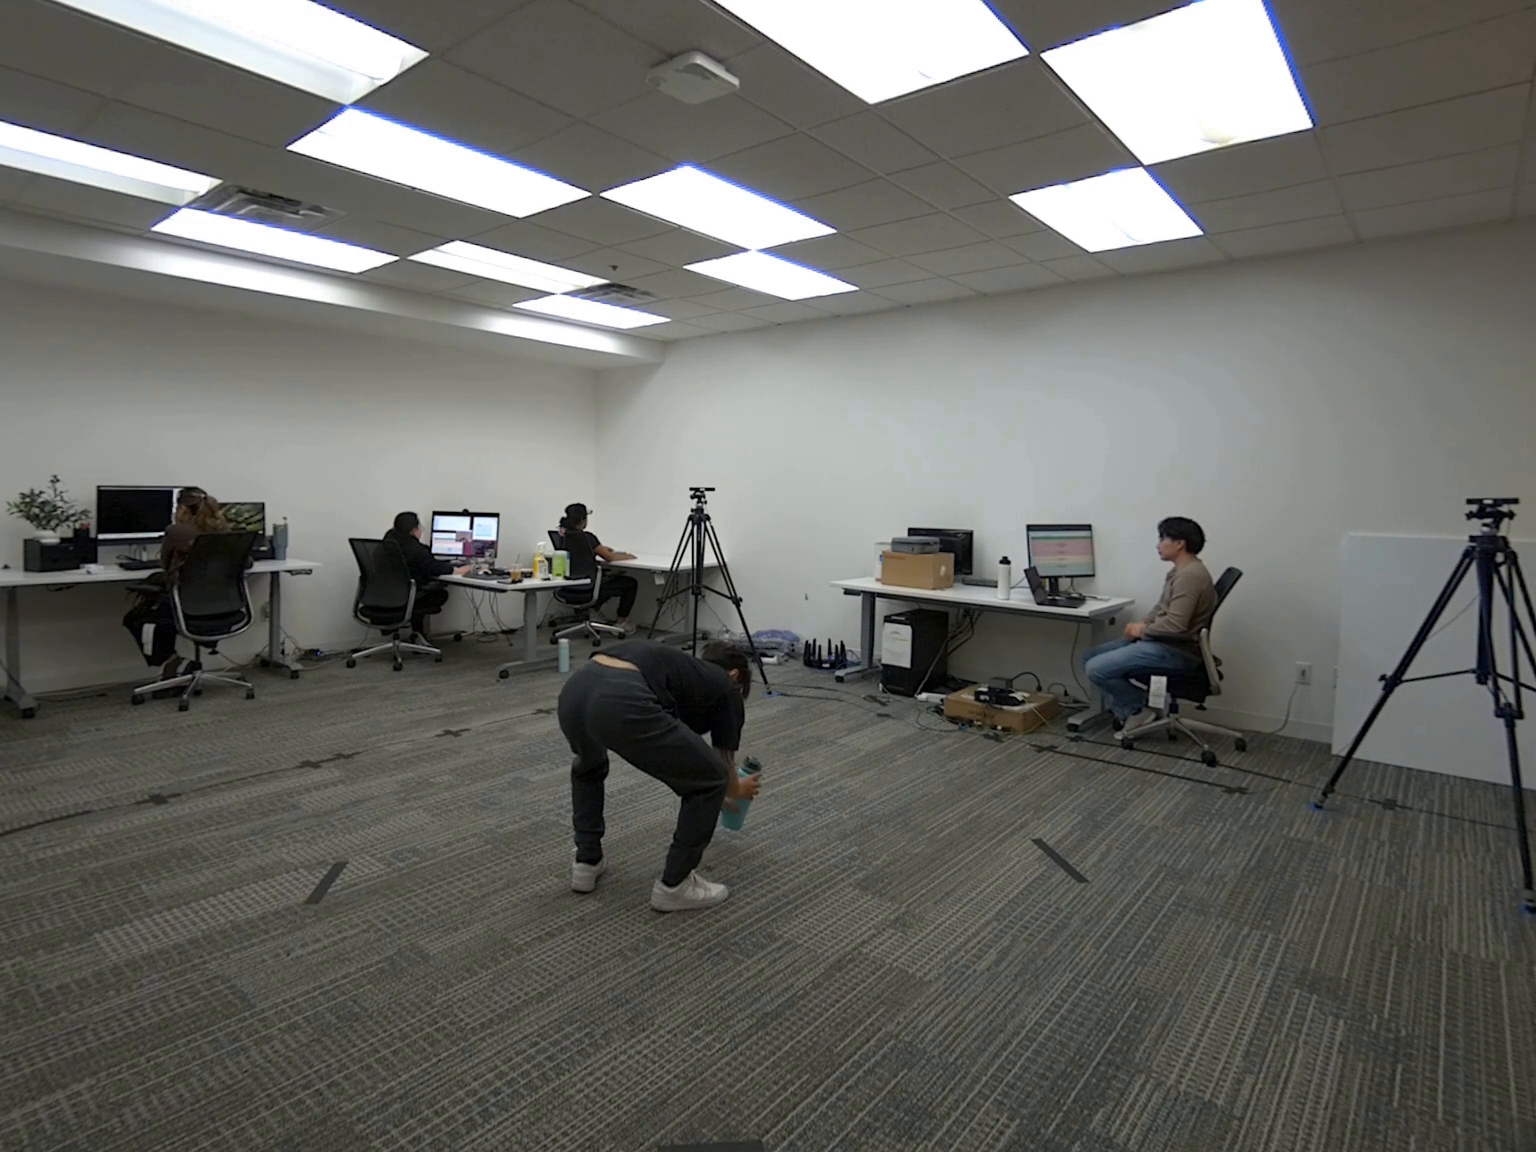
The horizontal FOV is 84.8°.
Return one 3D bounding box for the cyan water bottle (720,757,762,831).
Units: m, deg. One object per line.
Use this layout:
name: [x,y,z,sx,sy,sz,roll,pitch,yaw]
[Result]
cyan water bottle: [-0.113,0.850,3.302,0.092,0.283,0.093,20,3,-3]
